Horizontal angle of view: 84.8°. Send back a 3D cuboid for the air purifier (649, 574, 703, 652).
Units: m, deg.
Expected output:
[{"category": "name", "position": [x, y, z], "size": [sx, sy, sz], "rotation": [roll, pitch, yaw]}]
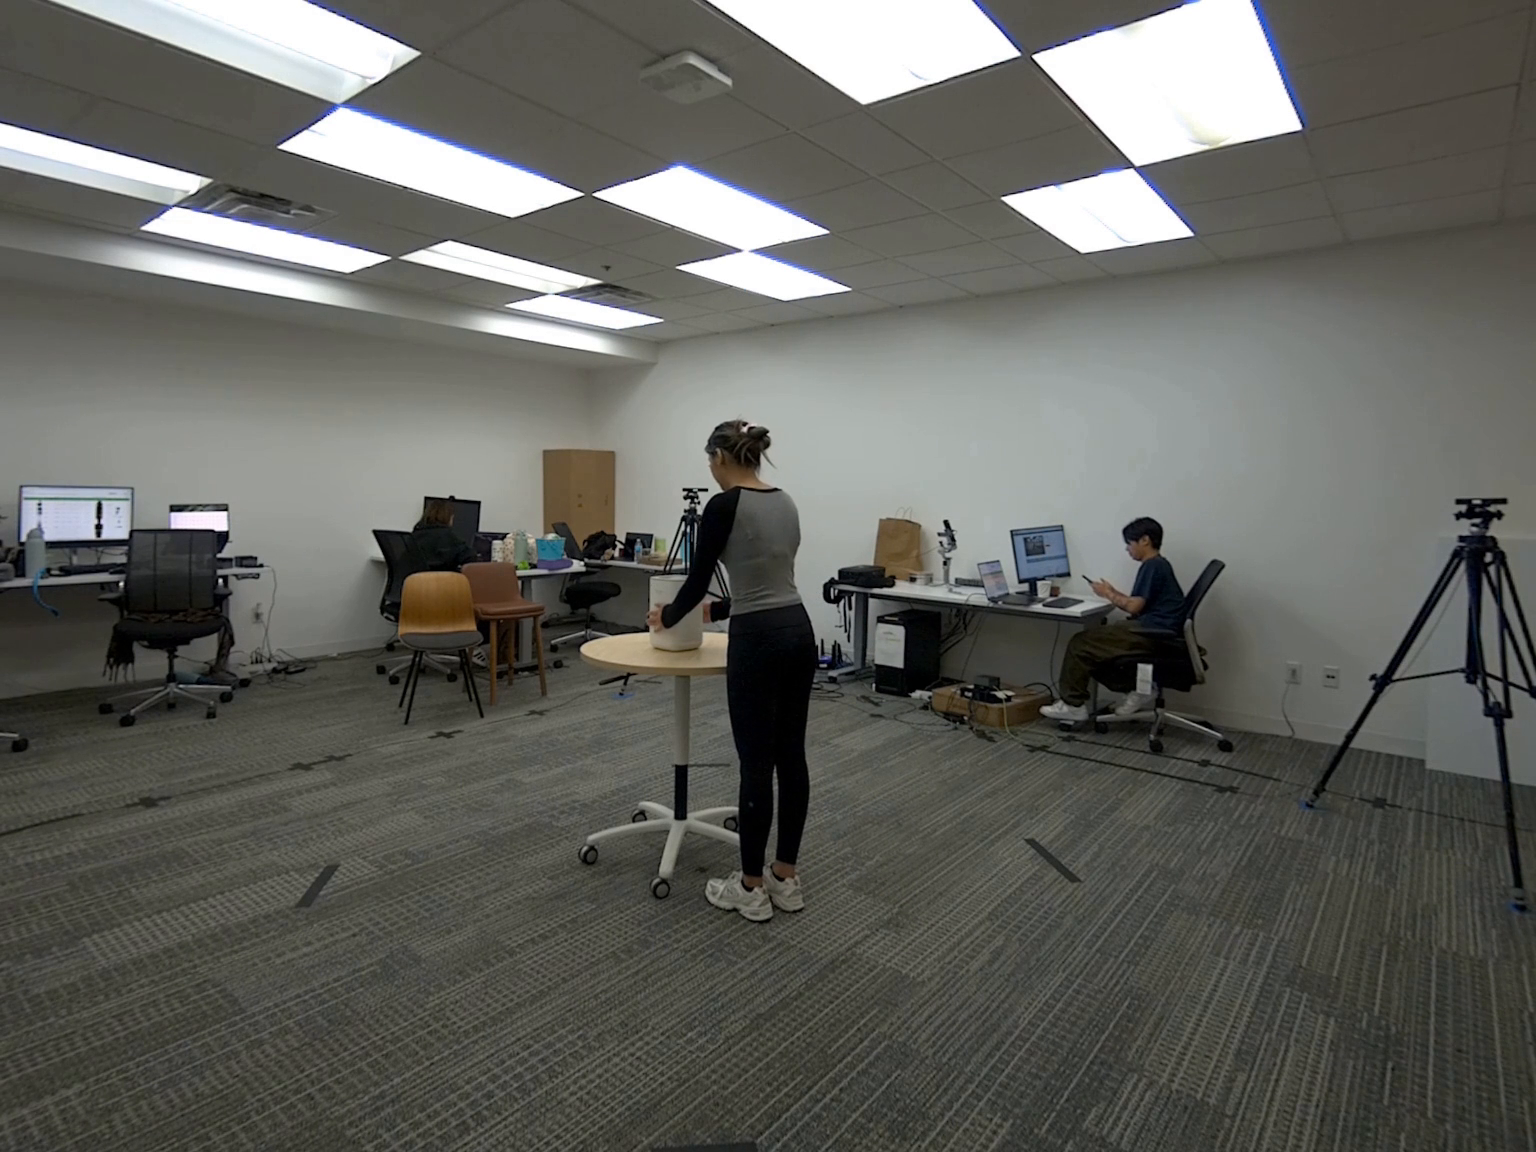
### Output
[{"category": "air purifier", "position": [-0.351, 0.135, 3.192], "size": [0.177, 0.265, 0.166], "rotation": [3, 3, 42]}]
